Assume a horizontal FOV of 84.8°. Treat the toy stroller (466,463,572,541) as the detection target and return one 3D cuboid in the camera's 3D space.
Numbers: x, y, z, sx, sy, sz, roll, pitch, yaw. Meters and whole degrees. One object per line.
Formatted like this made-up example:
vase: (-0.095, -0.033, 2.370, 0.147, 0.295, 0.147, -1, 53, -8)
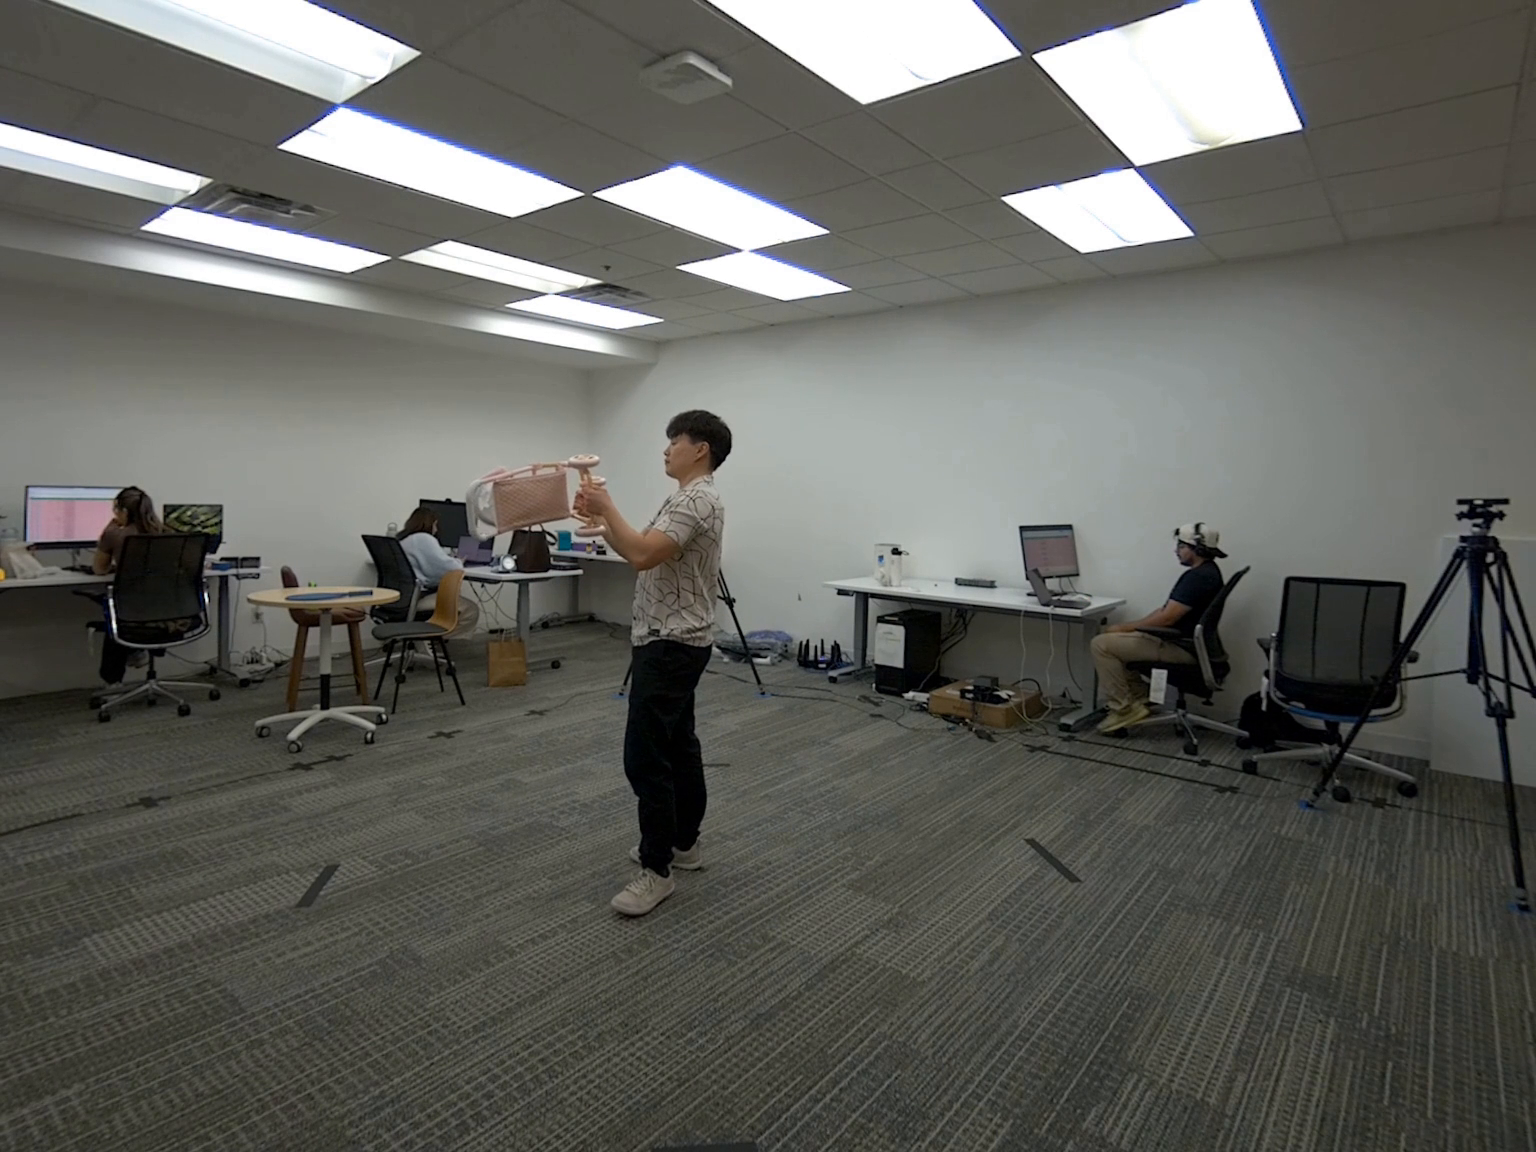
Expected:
toy stroller: (-0.830, -0.290, 3.023, 0.526, 0.276, 0.353, -10, 22, -20)
